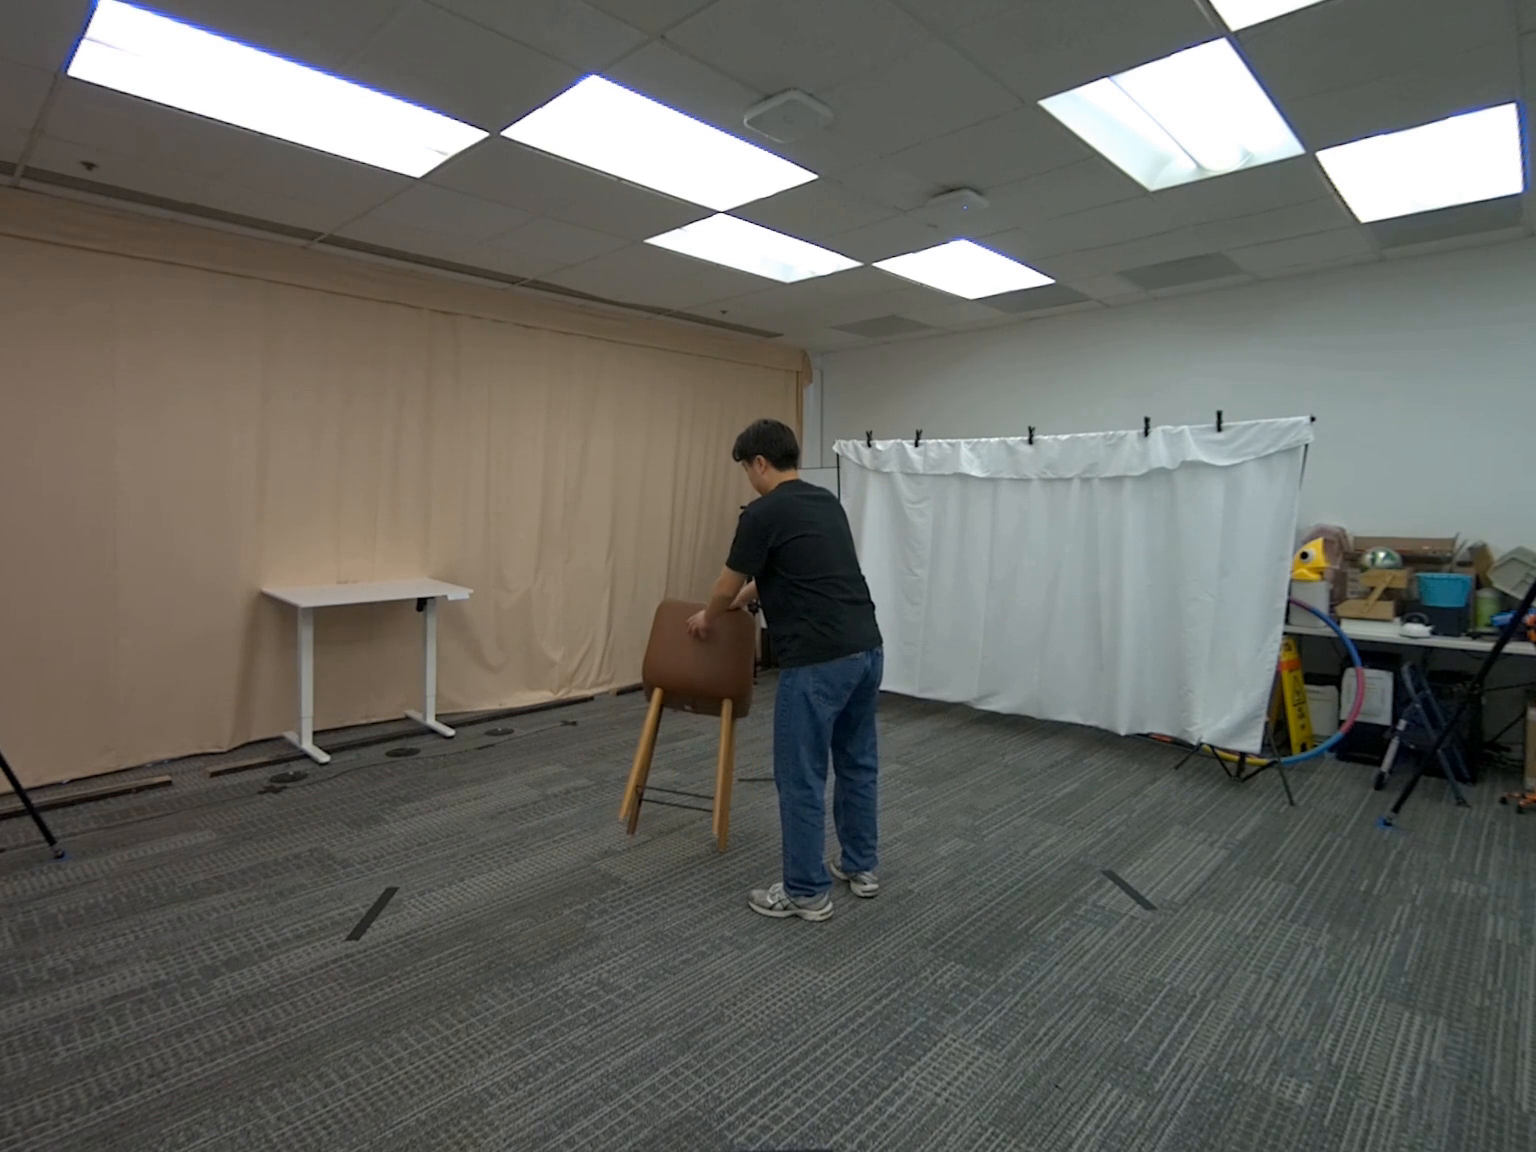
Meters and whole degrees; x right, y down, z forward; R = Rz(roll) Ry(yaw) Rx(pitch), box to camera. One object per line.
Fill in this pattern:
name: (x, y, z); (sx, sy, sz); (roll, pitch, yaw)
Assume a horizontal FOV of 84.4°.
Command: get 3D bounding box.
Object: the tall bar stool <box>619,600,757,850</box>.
tall bar stool: (-0.311, 0.597, 3.397); (0.459, 0.899, 0.461); (6, -23, 3)
